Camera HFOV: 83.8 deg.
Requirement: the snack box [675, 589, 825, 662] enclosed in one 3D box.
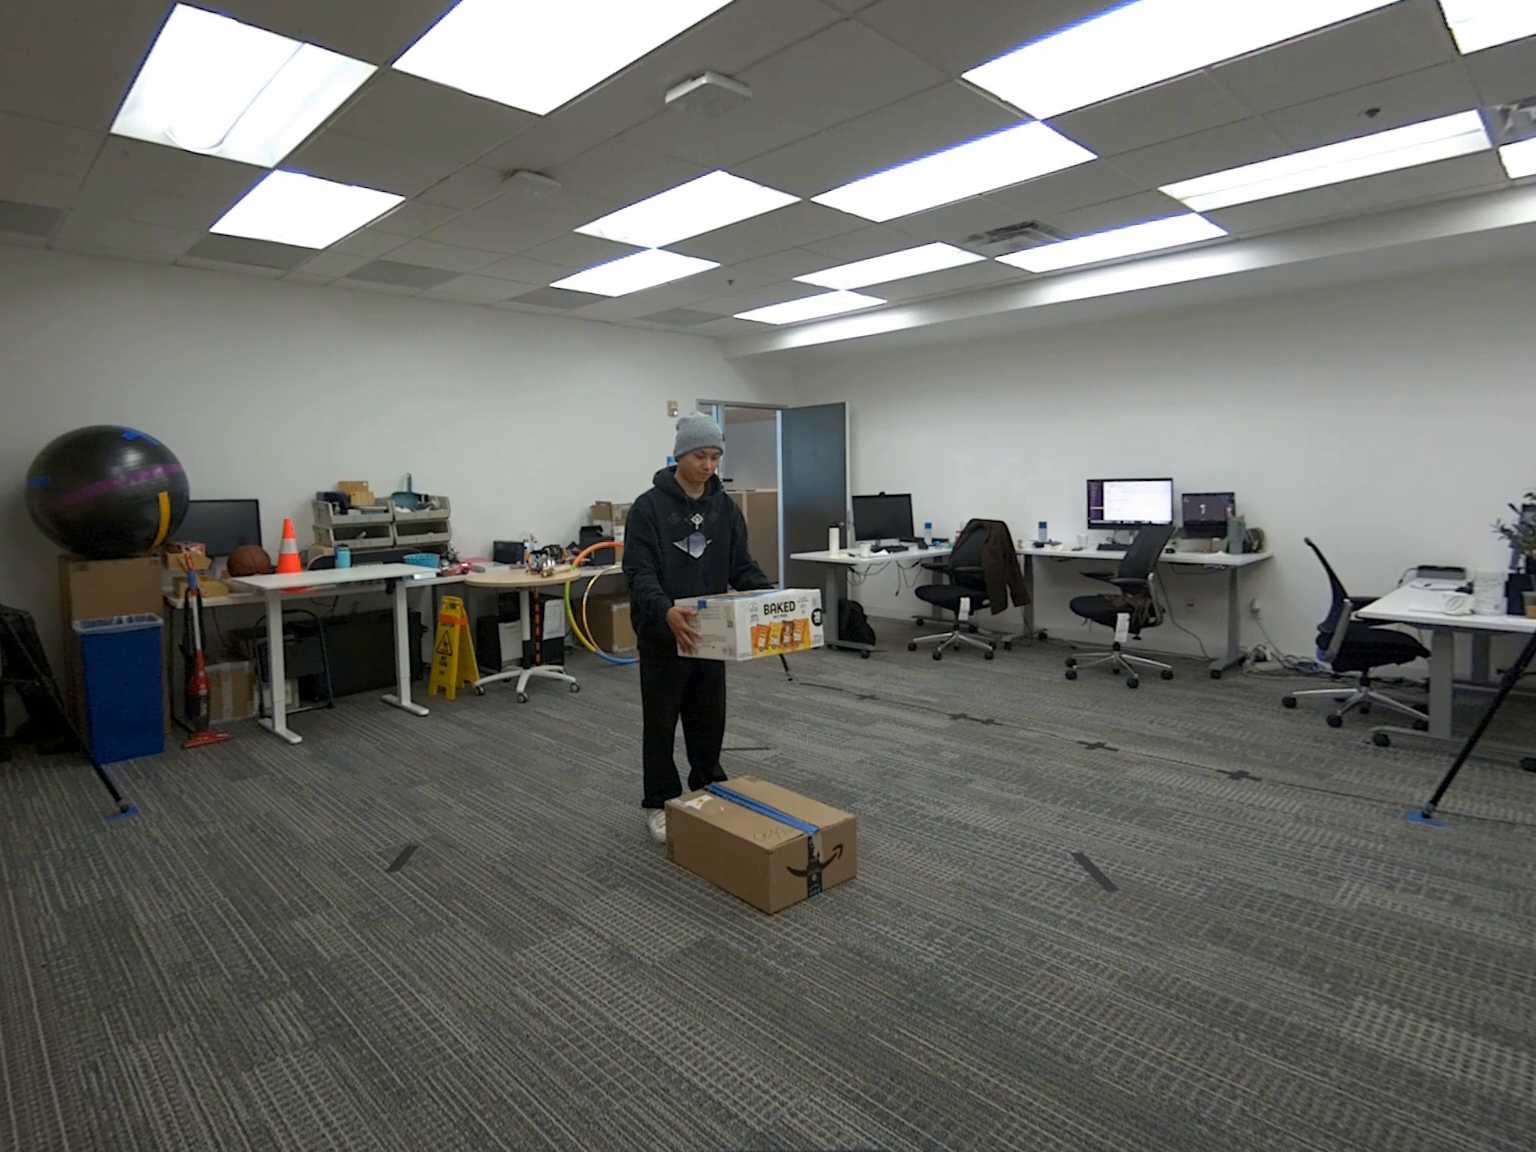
[{"bbox_3d":[-0.067,0.168,3.049,0.394,0.206,0.349,-5,1,-39],"label":"snack box"}]
